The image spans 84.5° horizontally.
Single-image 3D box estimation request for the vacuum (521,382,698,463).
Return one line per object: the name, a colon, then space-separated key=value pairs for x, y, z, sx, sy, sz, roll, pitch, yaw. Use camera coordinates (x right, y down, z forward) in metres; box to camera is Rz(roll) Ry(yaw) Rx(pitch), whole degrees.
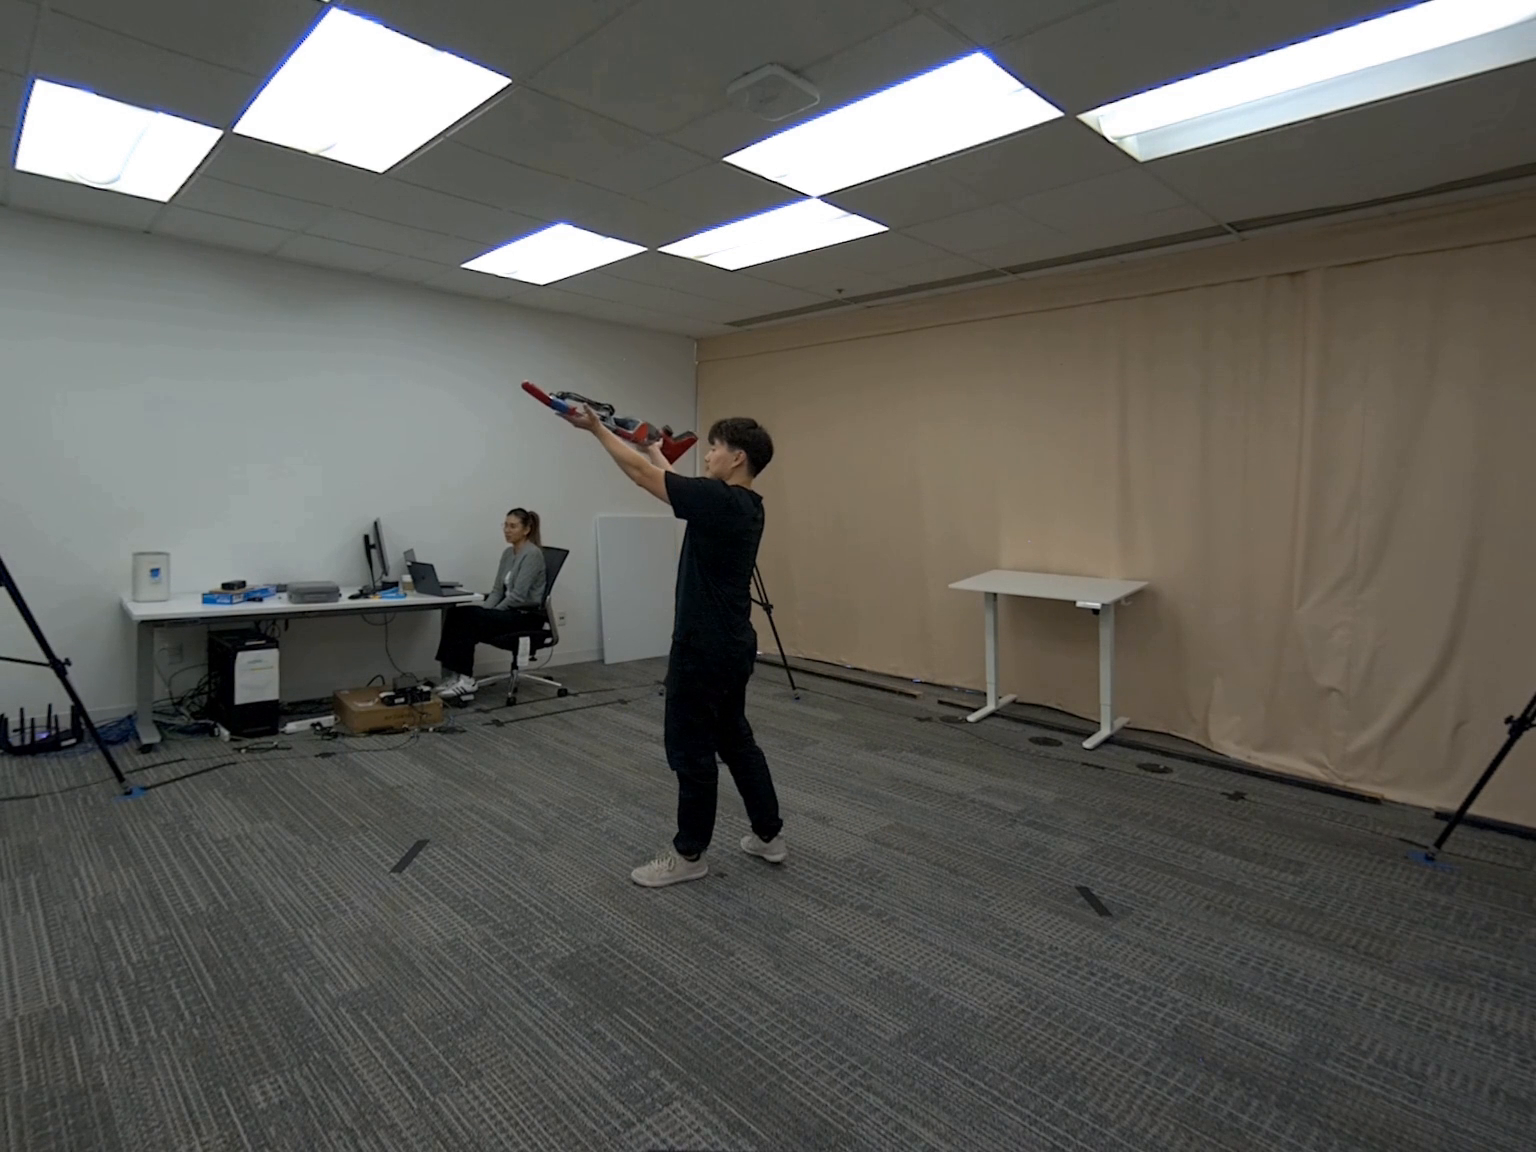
vacuum: x=-0.599 y=-0.576 z=3.125 sx=0.253 sy=0.146 sz=1.030 roll=-39 pitch=-15 yaw=13
